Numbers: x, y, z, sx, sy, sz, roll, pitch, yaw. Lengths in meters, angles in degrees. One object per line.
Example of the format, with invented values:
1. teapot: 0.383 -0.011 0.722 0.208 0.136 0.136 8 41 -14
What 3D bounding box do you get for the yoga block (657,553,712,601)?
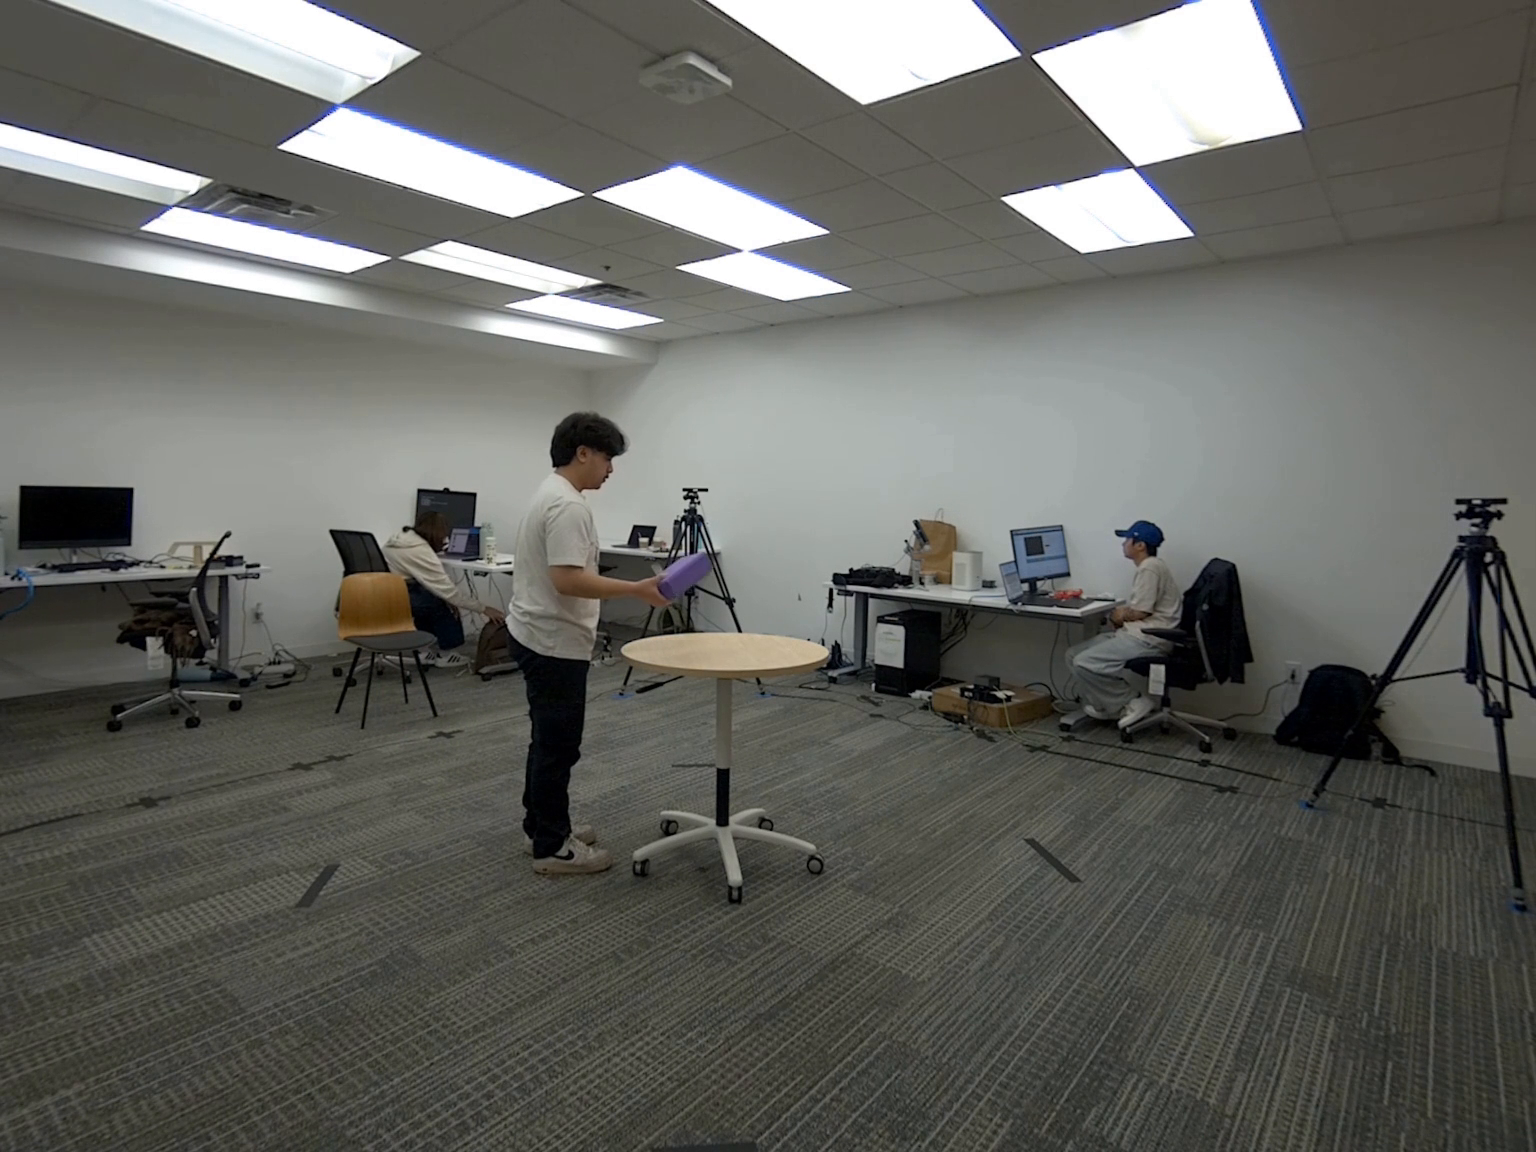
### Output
1. yoga block: -0.337 0.008 3.105 0.153 0.075 0.228 -10 24 48
